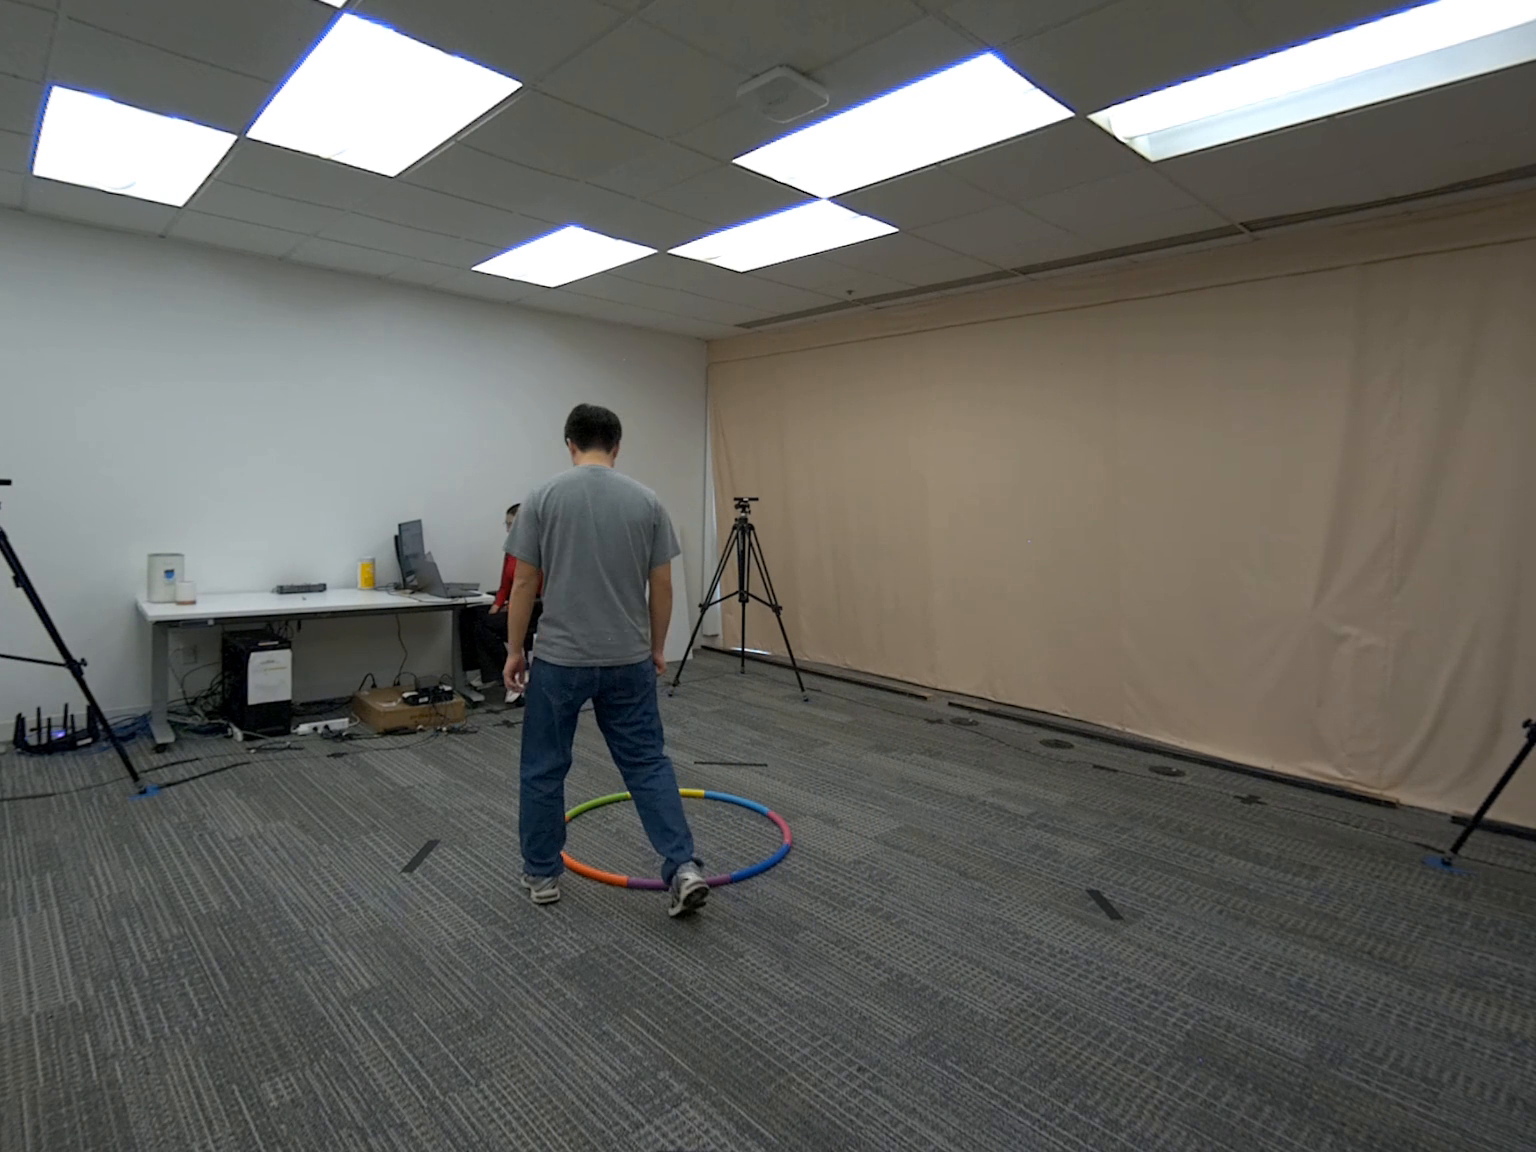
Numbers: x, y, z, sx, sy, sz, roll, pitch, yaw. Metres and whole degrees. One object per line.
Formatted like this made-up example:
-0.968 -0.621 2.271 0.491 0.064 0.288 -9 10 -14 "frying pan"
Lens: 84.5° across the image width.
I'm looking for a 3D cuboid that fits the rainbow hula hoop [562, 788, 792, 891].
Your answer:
-0.408 1.040 3.464 0.978 0.035 0.982 1 5 -1 "rainbow hula hoop"
